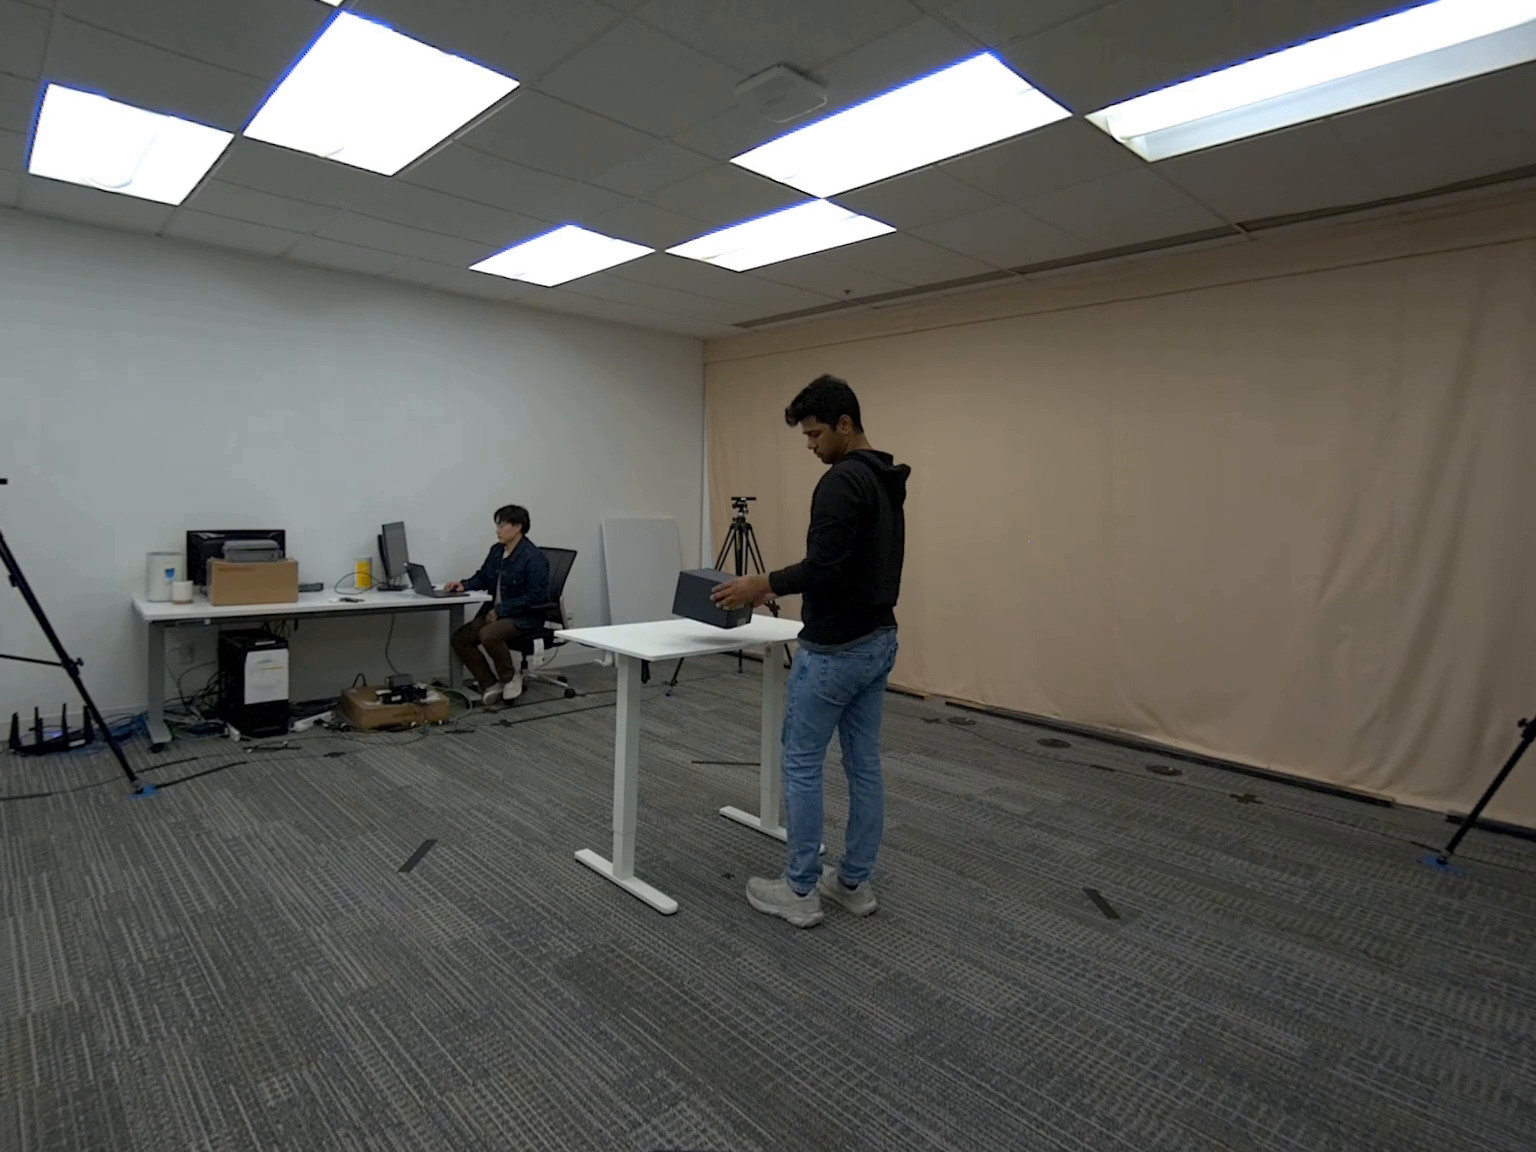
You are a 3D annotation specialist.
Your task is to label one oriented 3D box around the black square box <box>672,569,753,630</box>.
[{"bbox_3d":[-0.184,0.088,2.977,0.221,0.155,0.225,12,7,19],"label":"black square box"}]
